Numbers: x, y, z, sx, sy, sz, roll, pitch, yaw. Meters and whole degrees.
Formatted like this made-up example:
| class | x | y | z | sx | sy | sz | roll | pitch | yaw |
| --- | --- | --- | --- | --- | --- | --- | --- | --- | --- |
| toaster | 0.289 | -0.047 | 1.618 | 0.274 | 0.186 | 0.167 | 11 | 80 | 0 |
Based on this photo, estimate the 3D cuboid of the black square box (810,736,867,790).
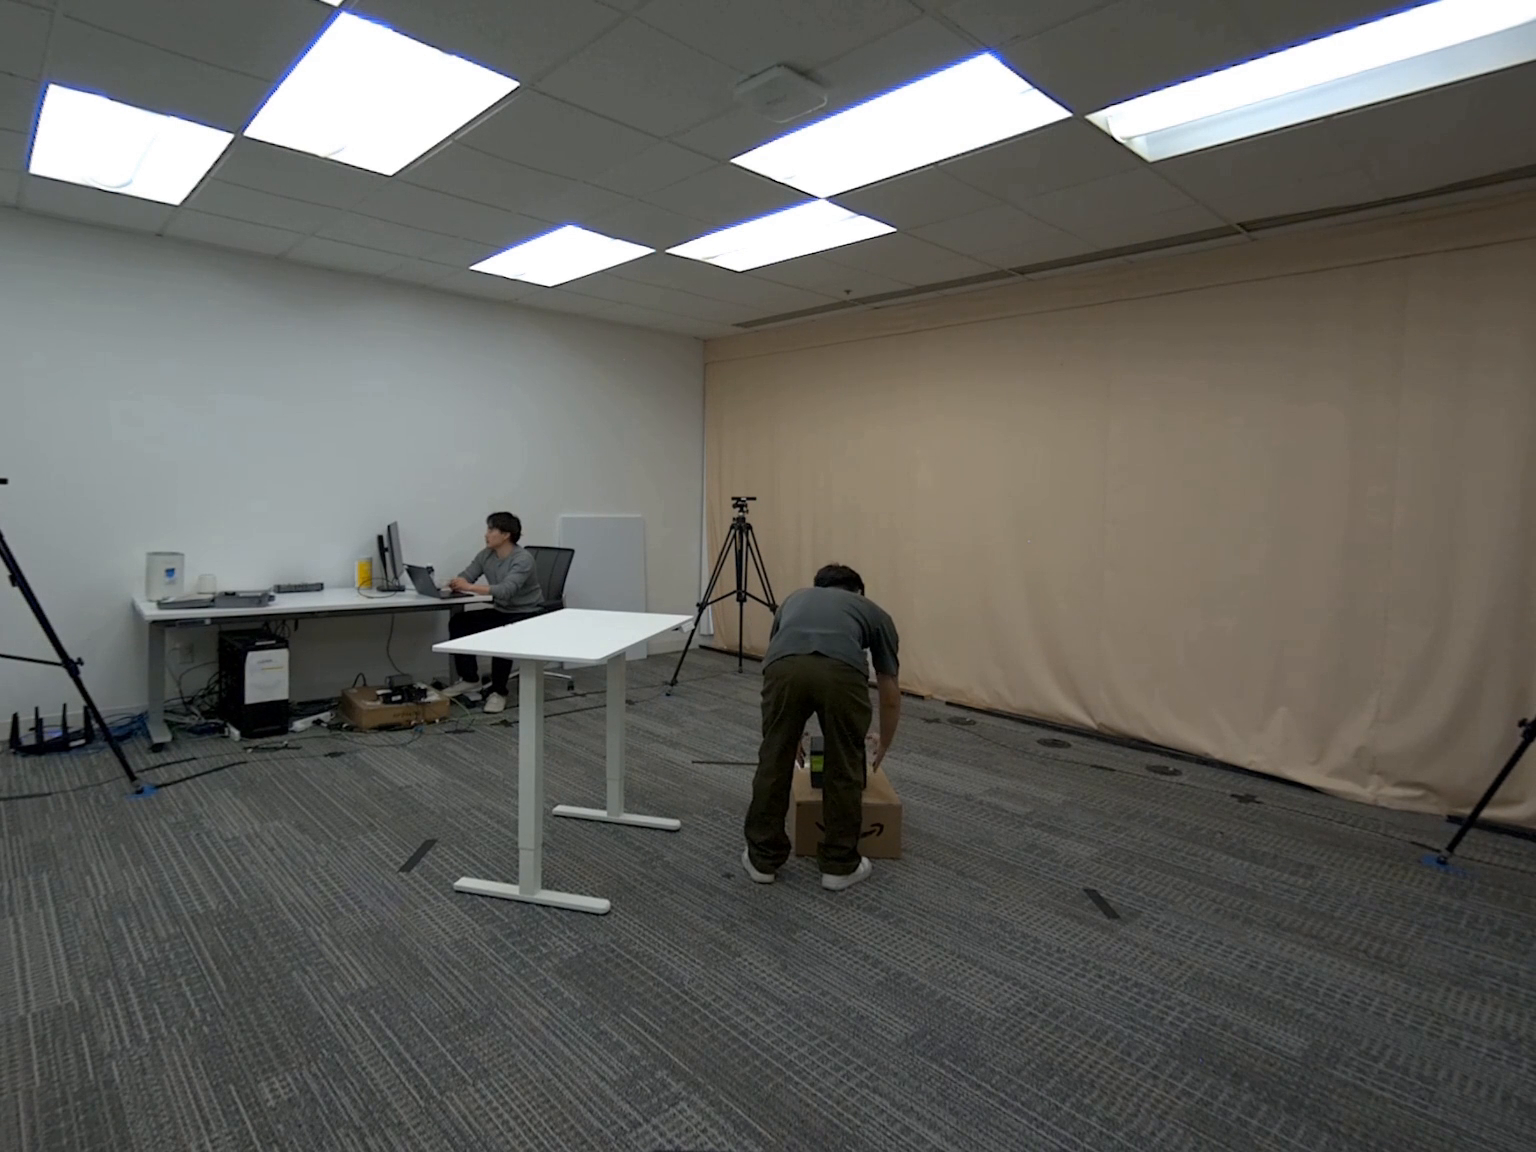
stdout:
| class | x | y | z | sx | sy | sz | roll | pitch | yaw |
| --- | --- | --- | --- | --- | --- | --- | --- | --- | --- |
| black square box | 0.290 | 0.777 | 3.542 | 0.229 | 0.155 | 0.216 | 0 | 3 | 4 |
